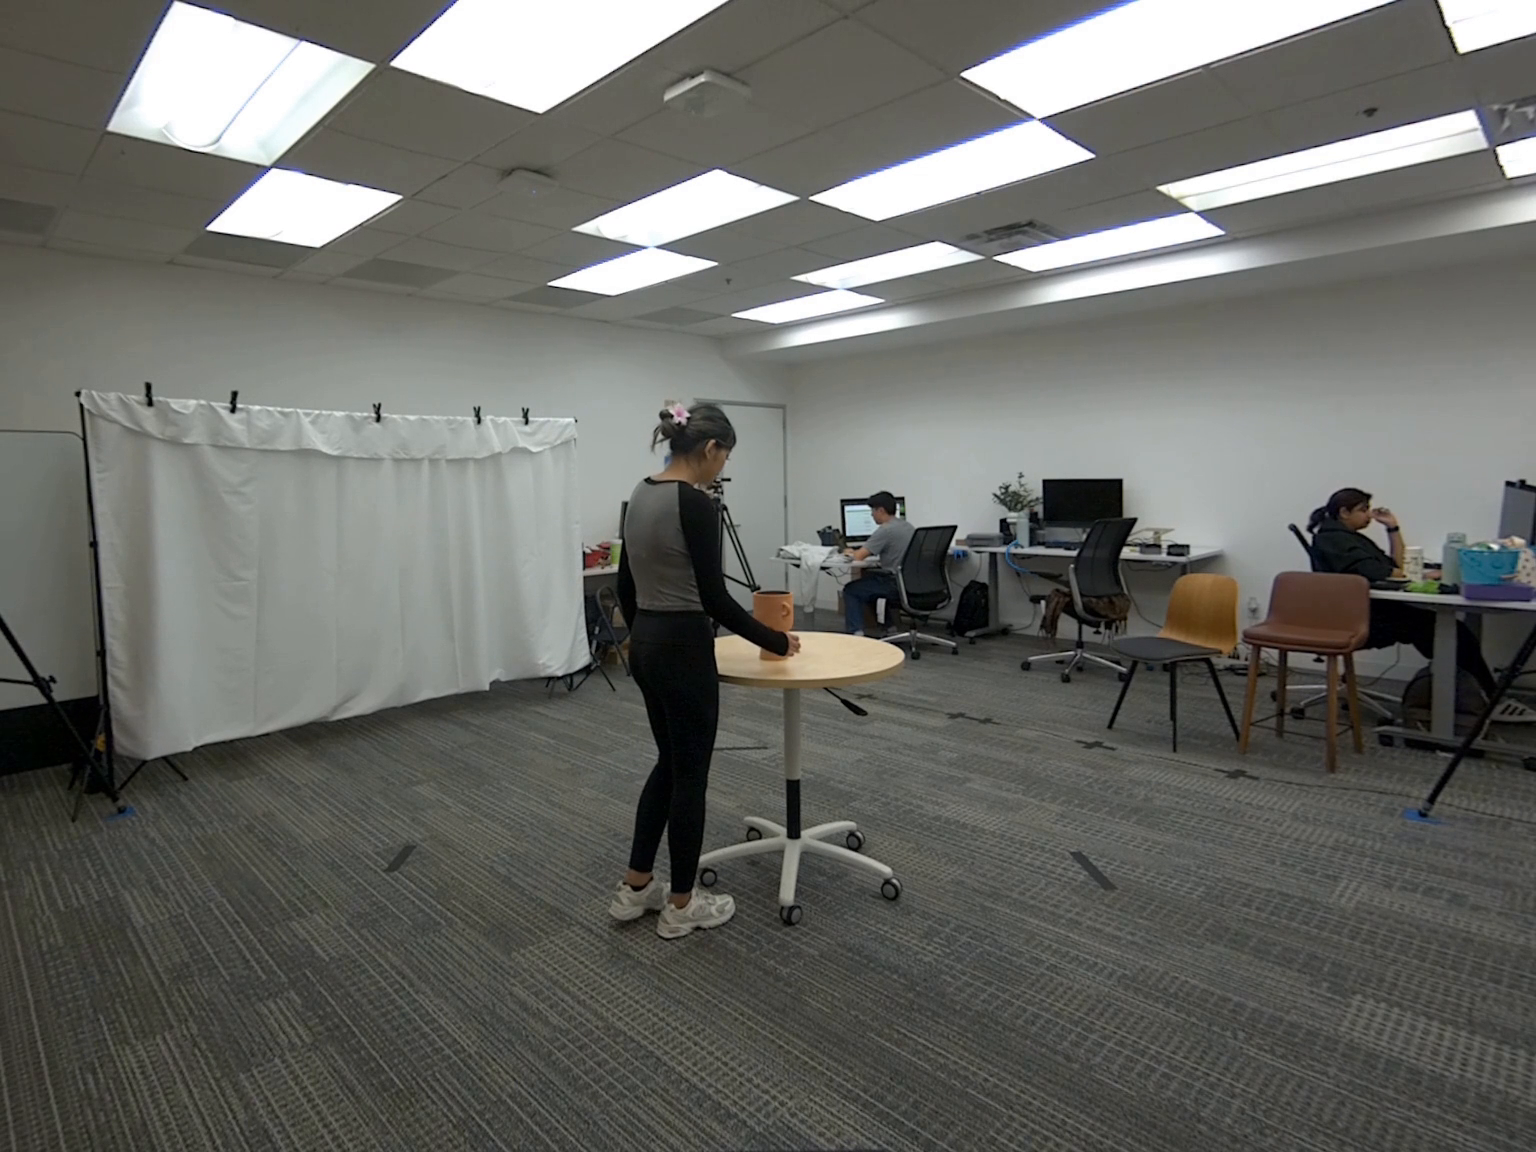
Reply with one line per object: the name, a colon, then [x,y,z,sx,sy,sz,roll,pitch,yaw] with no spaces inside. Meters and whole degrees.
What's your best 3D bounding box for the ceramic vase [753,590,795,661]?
ceramic vase: [0.027,0.167,2.863,0.136,0.219,0.158,0,4,9]
